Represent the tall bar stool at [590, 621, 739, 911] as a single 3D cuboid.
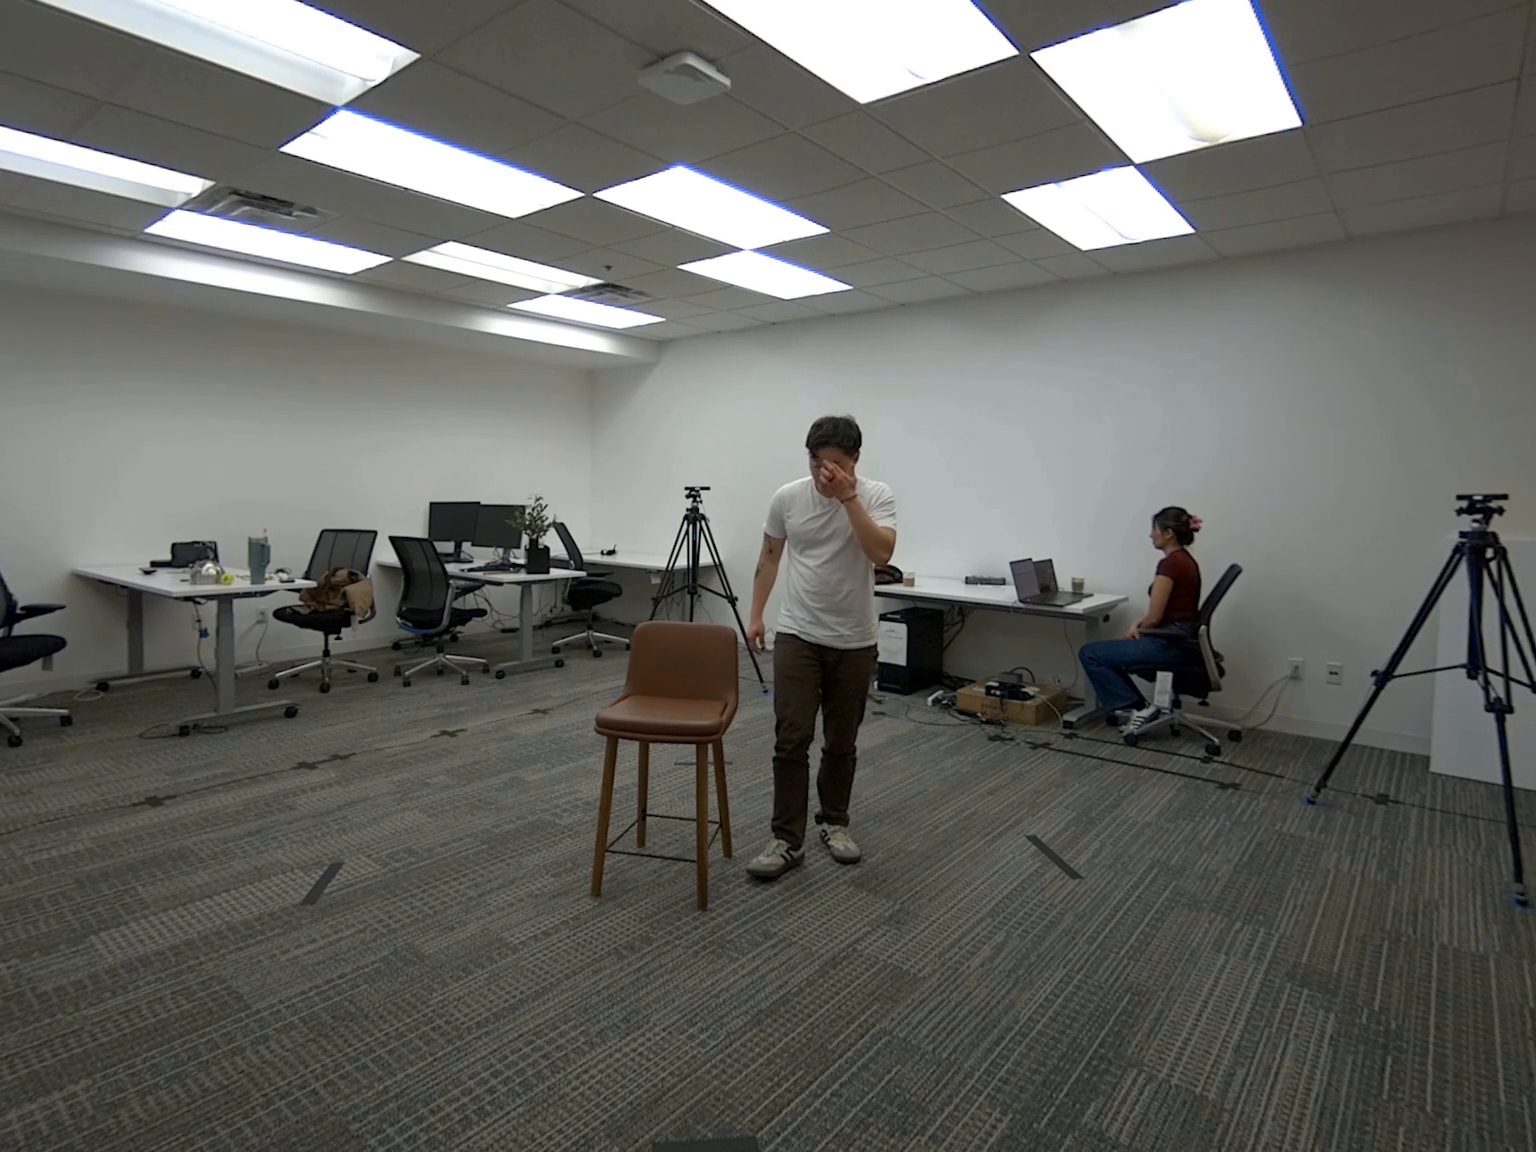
[{"bbox_3d":[-0.360,0.637,3.038,0.464,0.889,0.461,2,2,13],"label":"tall bar stool"}]
